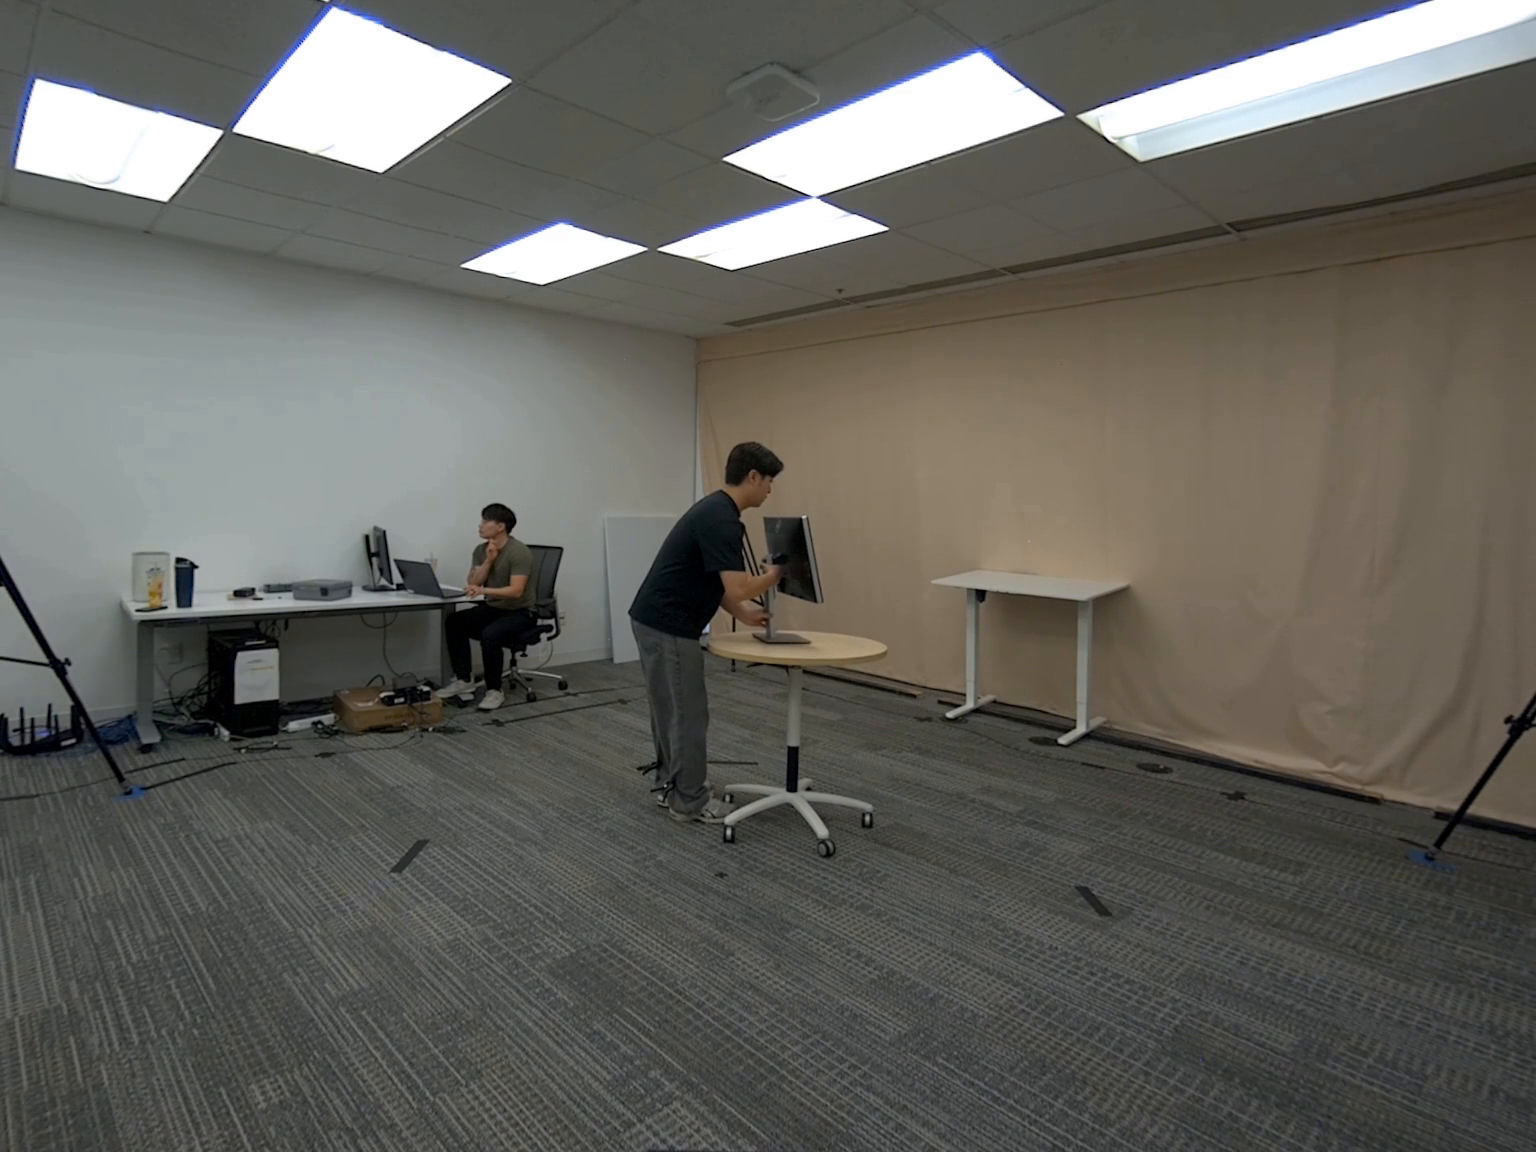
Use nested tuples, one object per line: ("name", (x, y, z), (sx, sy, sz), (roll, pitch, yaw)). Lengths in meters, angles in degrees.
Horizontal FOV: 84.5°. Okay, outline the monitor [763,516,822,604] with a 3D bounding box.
("monitor", (0.064, 0.015, 3.683), (0.220, 0.565, 0.569), (3, 3, -14))
